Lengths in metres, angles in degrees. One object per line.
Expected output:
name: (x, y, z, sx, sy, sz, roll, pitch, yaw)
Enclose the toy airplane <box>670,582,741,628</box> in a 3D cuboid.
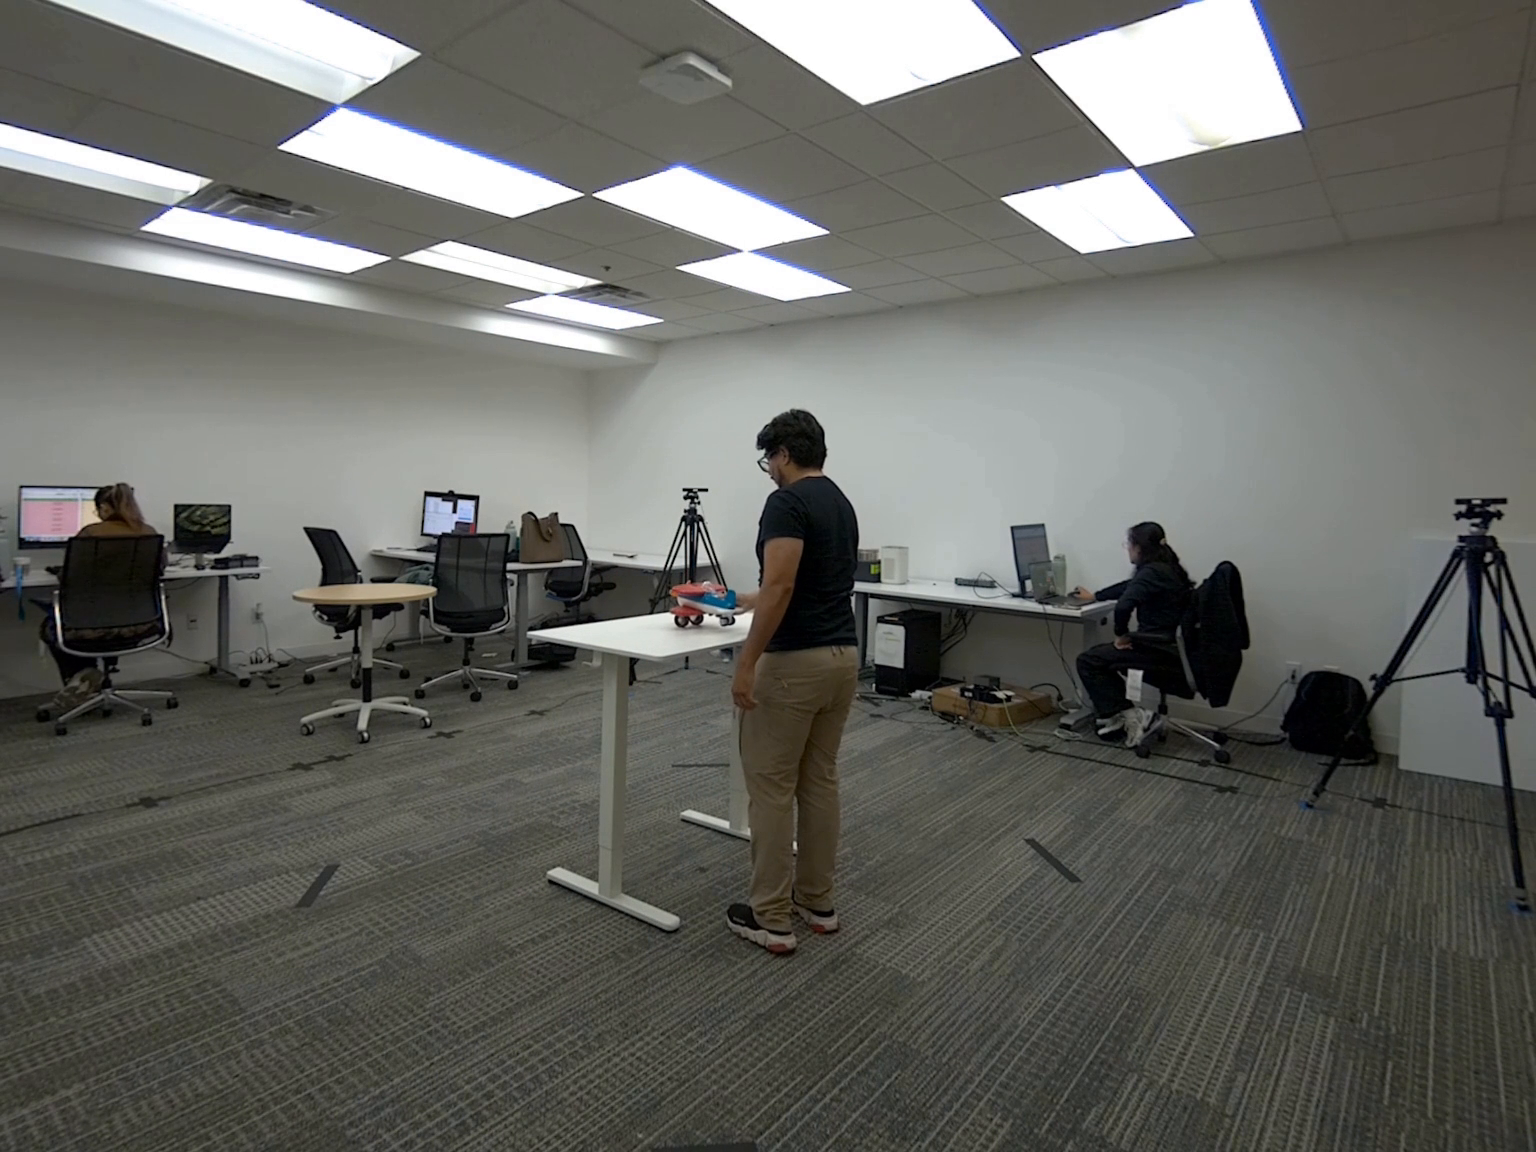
toy airplane: (-0.232, 0.103, 3.102, 0.261, 0.156, 0.249, -4, 1, 7)
